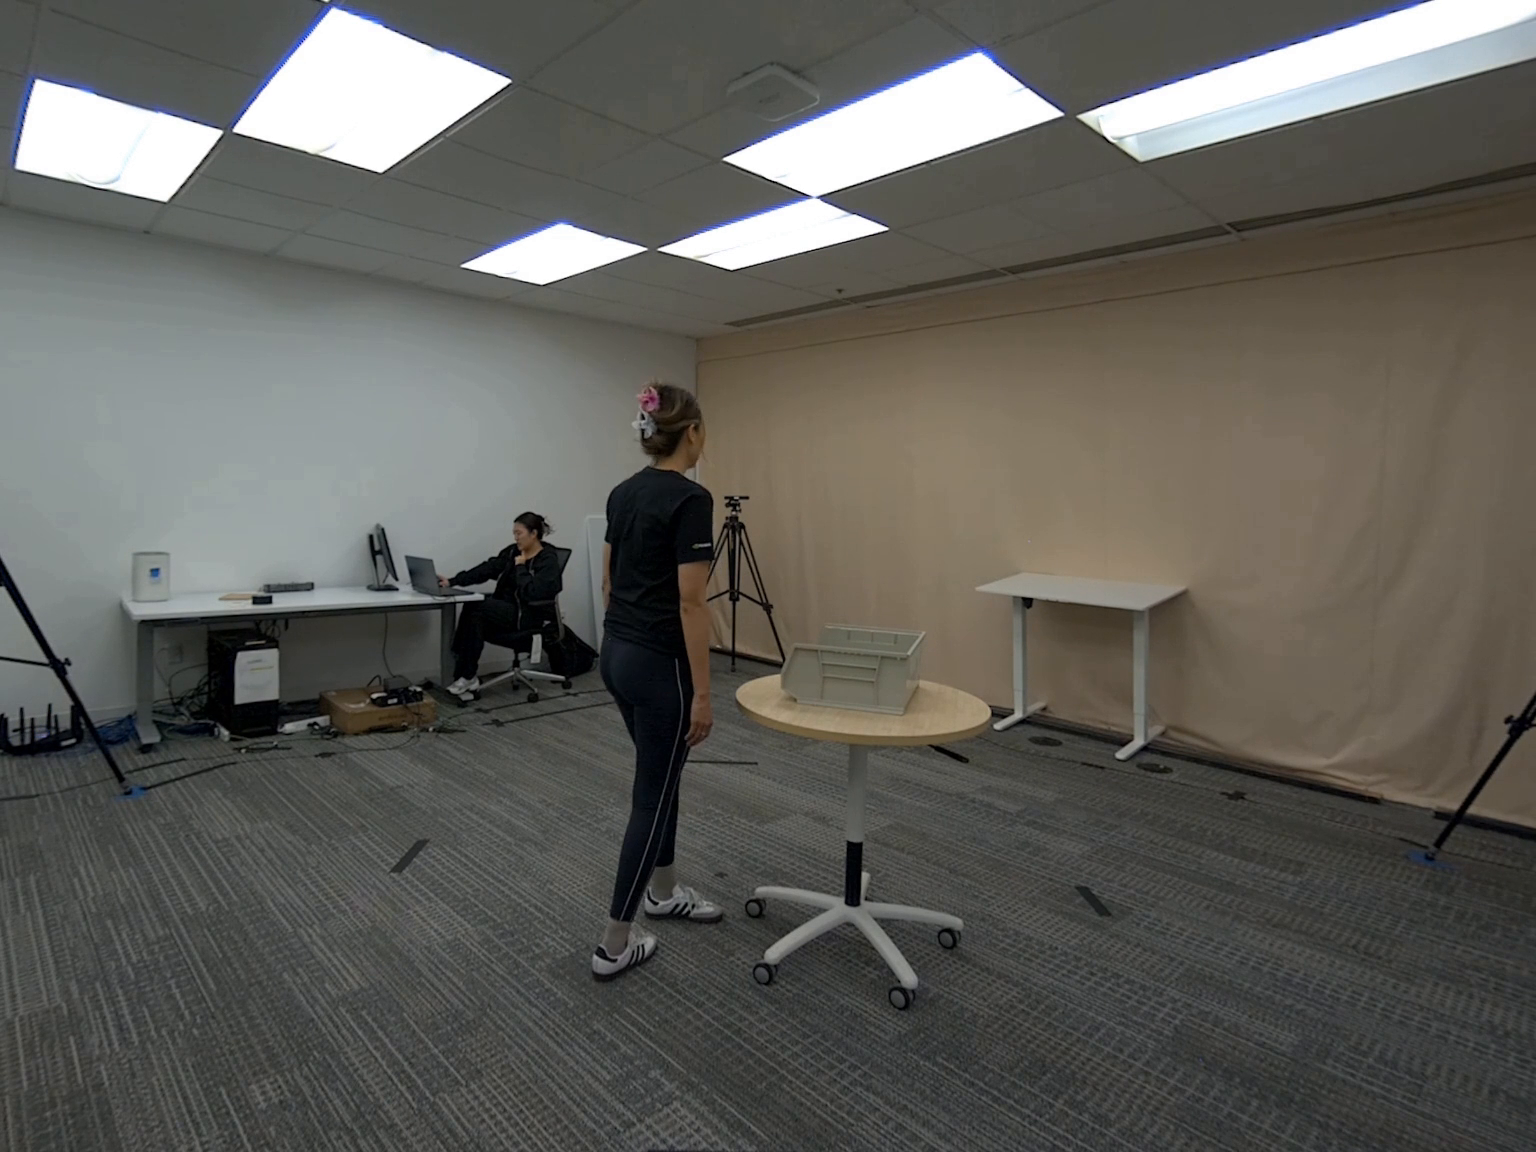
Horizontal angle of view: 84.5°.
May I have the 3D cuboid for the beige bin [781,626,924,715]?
[{"bbox_3d":[0.269,0.282,2.635,0.383,0.188,0.417,5,6,17],"label":"beige bin"}]
